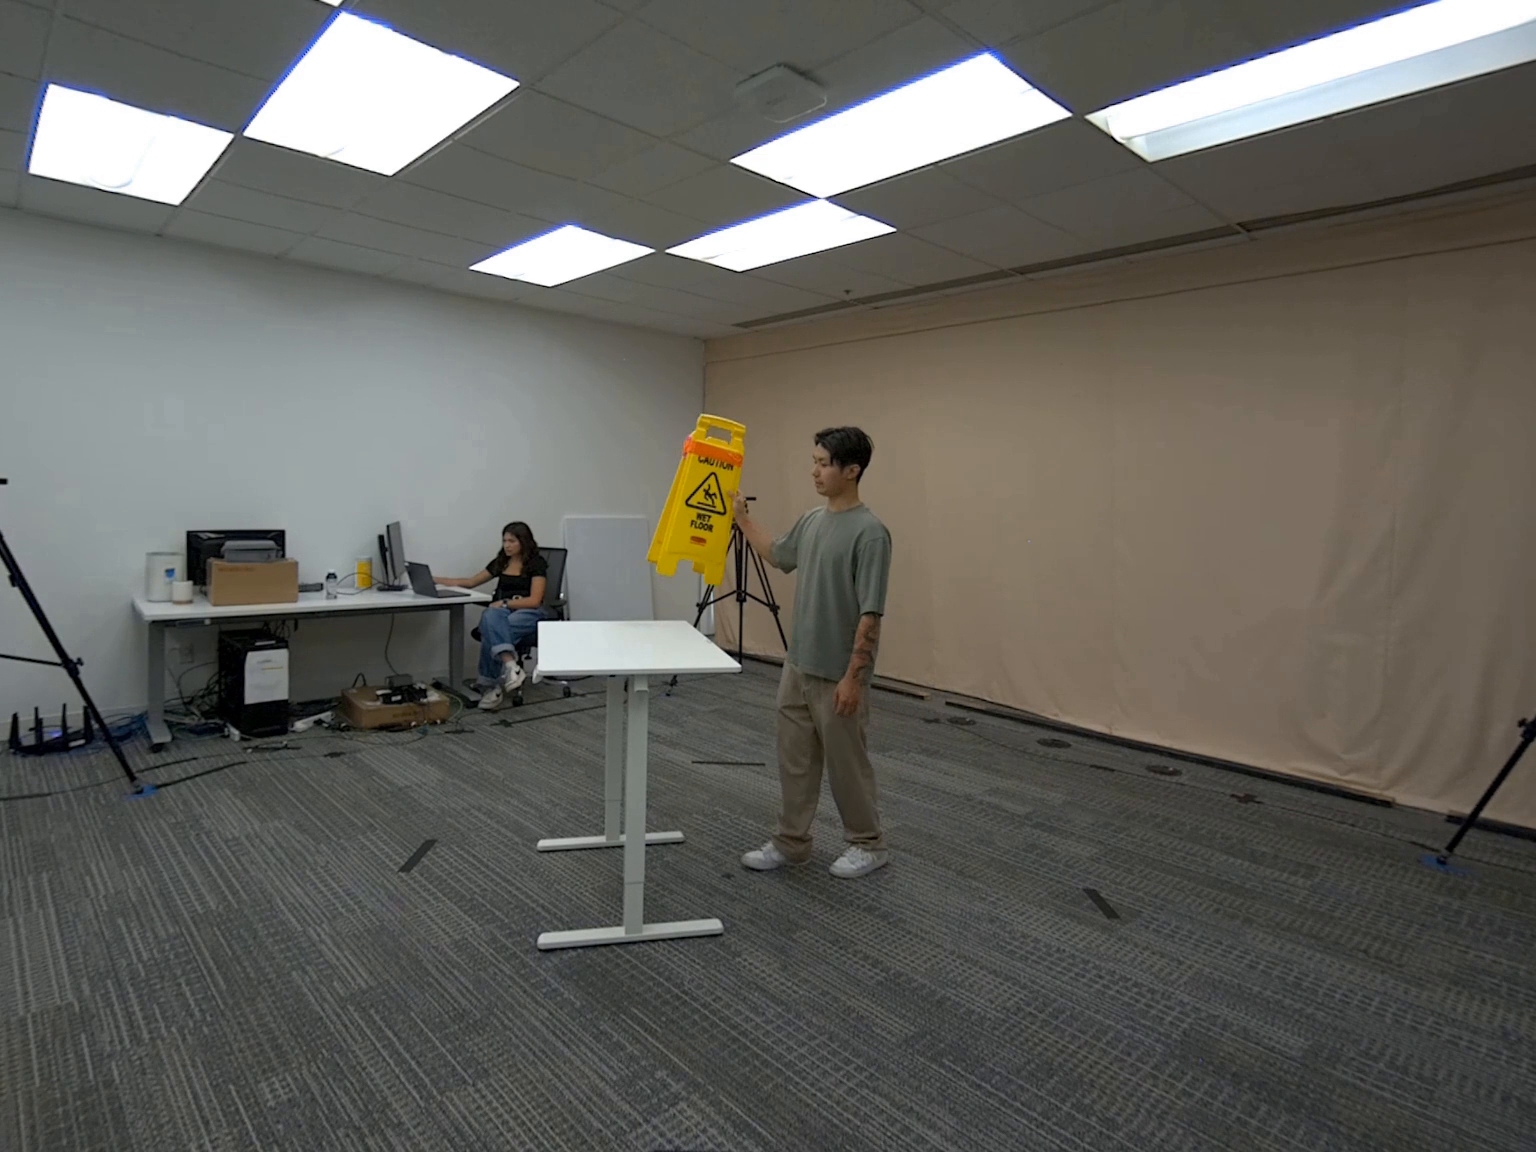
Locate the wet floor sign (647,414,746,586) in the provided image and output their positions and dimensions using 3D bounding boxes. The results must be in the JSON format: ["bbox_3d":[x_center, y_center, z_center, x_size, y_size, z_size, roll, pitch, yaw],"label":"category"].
[{"bbox_3d":[-0.274,-0.325,3.433,0.278,0.644,0.295,14,6,-18],"label":"wet floor sign"}]
